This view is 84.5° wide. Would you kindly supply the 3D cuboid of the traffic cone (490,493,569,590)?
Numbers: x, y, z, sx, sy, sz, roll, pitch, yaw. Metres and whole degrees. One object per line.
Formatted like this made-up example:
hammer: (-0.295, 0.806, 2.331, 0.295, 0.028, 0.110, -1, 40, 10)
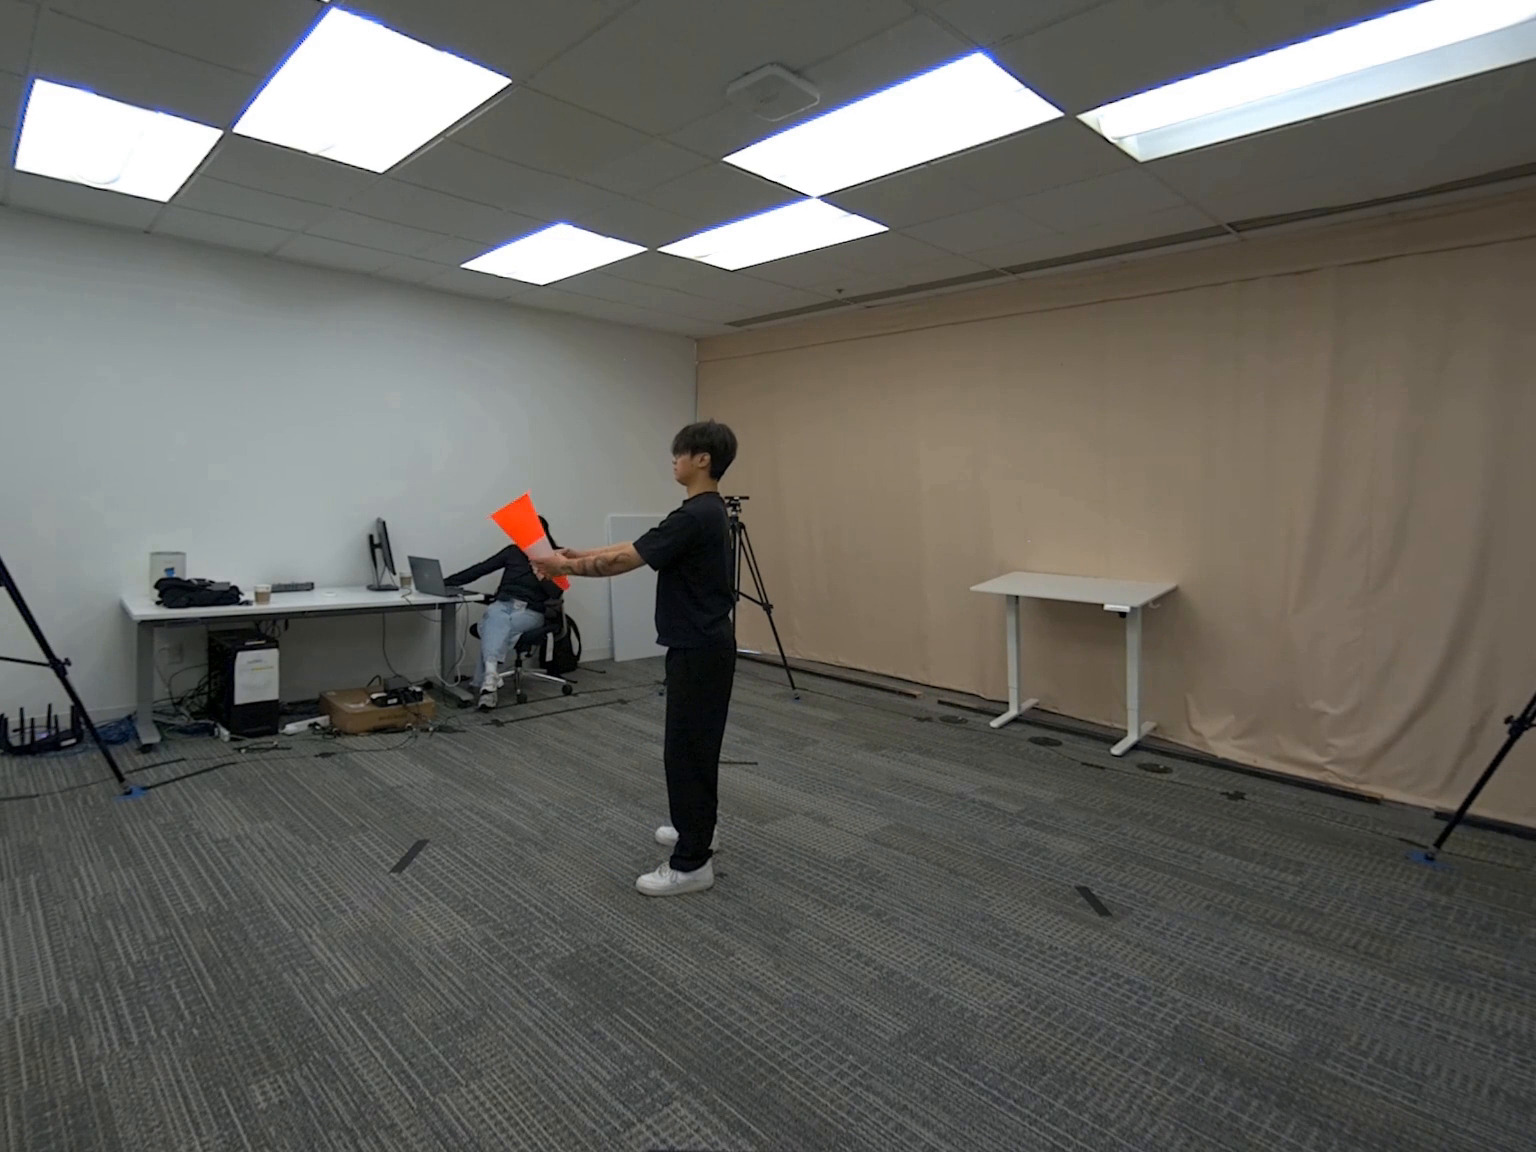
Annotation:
traffic cone: (-0.868, -0.094, 3.132, 0.203, 0.379, 0.208, -33, 12, -9)
